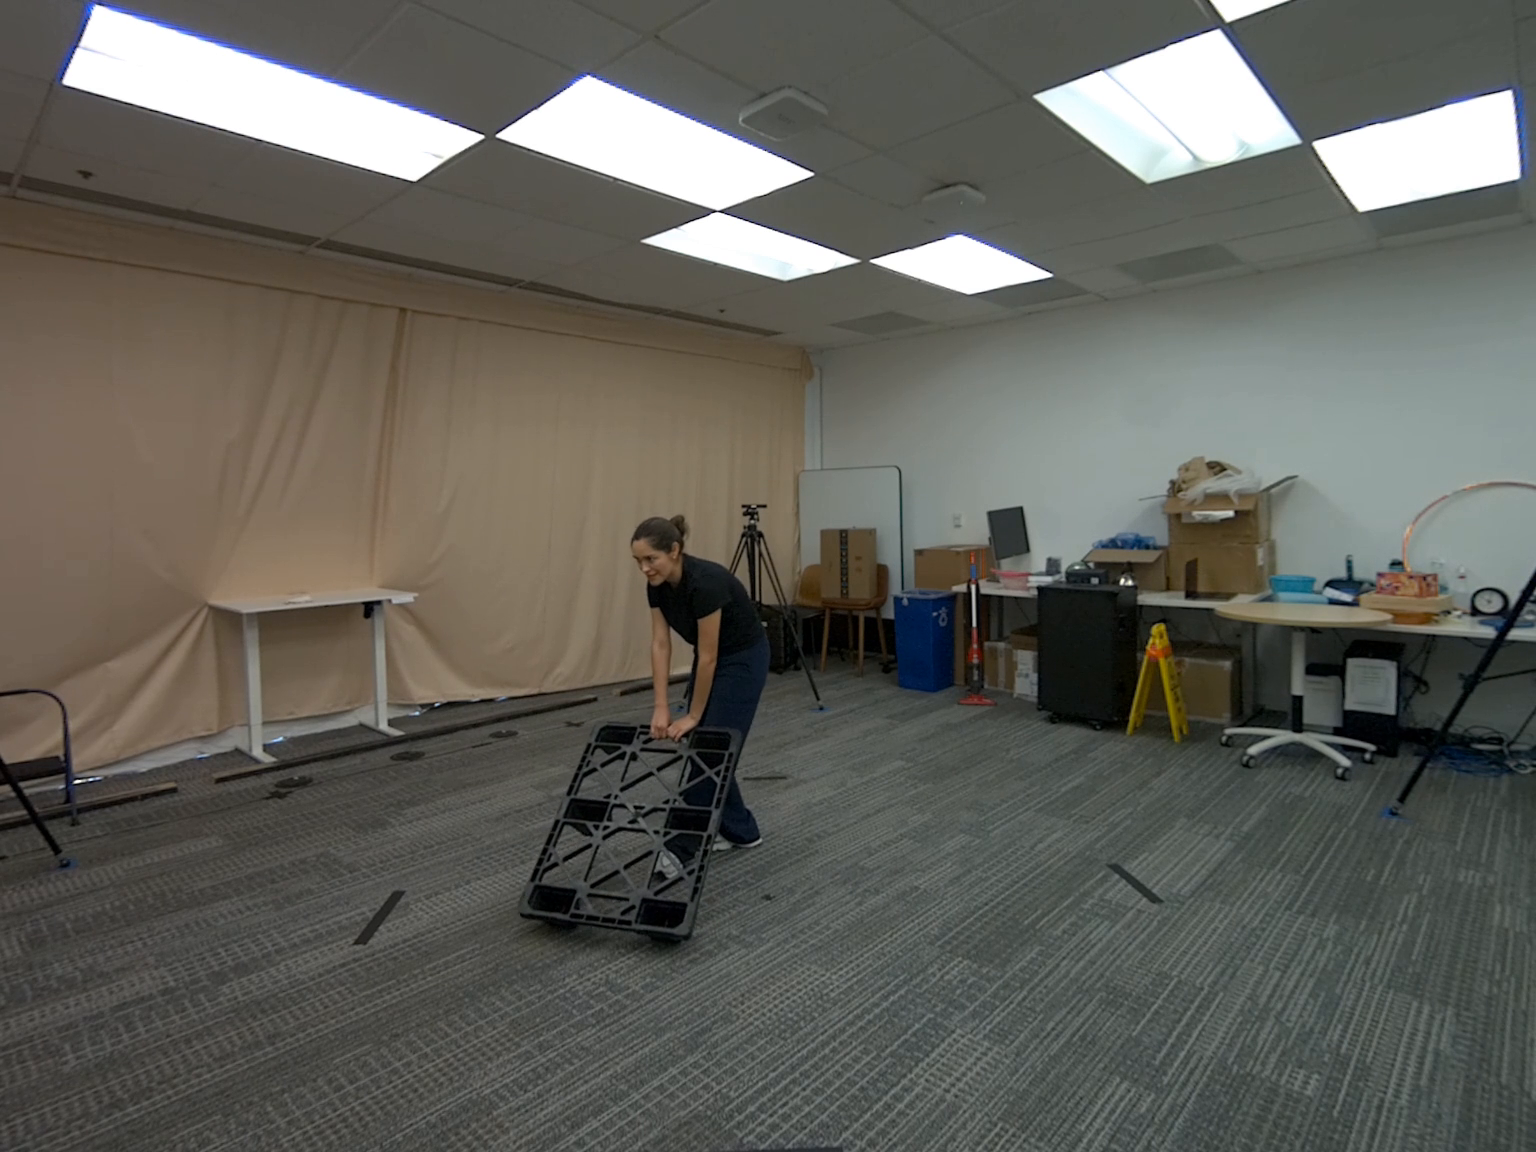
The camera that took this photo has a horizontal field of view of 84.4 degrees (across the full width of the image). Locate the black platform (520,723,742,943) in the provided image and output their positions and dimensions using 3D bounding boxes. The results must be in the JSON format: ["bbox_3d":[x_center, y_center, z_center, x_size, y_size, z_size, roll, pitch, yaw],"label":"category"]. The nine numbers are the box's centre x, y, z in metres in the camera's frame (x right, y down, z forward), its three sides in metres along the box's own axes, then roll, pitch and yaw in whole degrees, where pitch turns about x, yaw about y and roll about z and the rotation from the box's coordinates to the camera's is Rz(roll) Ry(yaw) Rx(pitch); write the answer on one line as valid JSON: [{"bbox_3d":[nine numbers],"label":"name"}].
[{"bbox_3d":[-0.437,0.879,2.983,0.615,0.140,0.812,-1,41,15],"label":"black platform"}]
